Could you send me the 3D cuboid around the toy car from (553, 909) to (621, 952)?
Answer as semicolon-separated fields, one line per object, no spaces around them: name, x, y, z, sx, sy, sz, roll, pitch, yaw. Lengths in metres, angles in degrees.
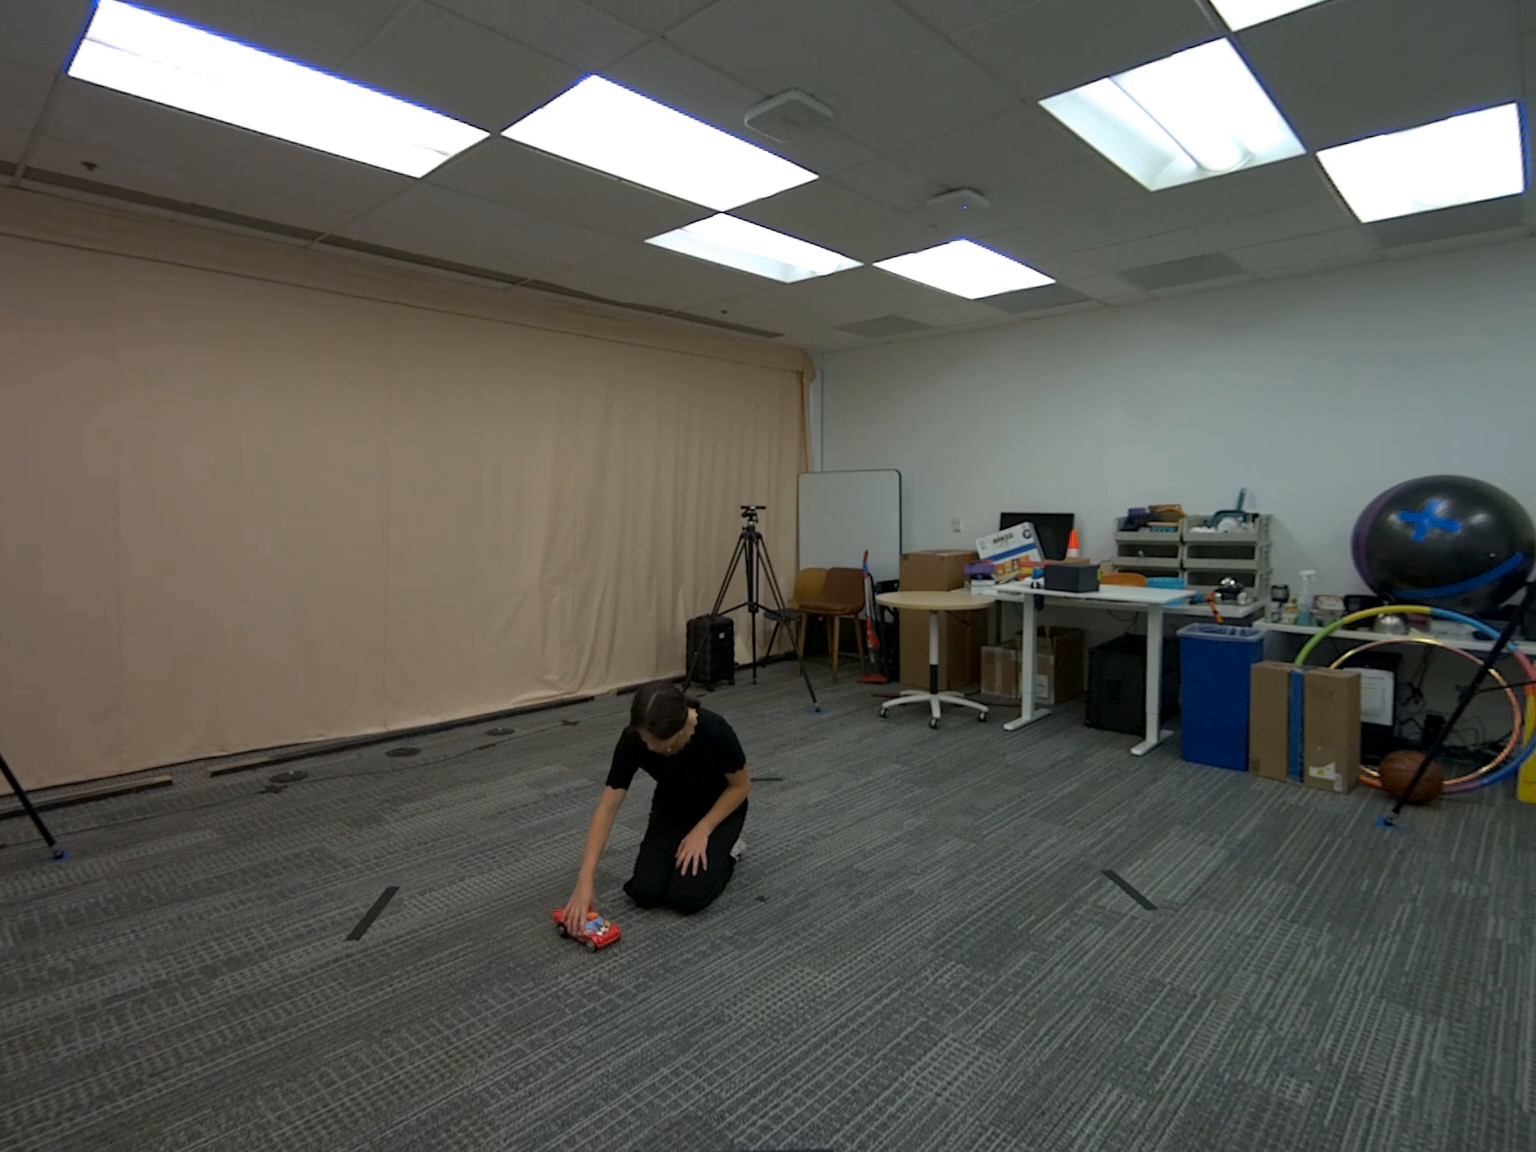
toy car;-0.599;1.141;2.732;0.264;0.083;0.126;19;17;41
